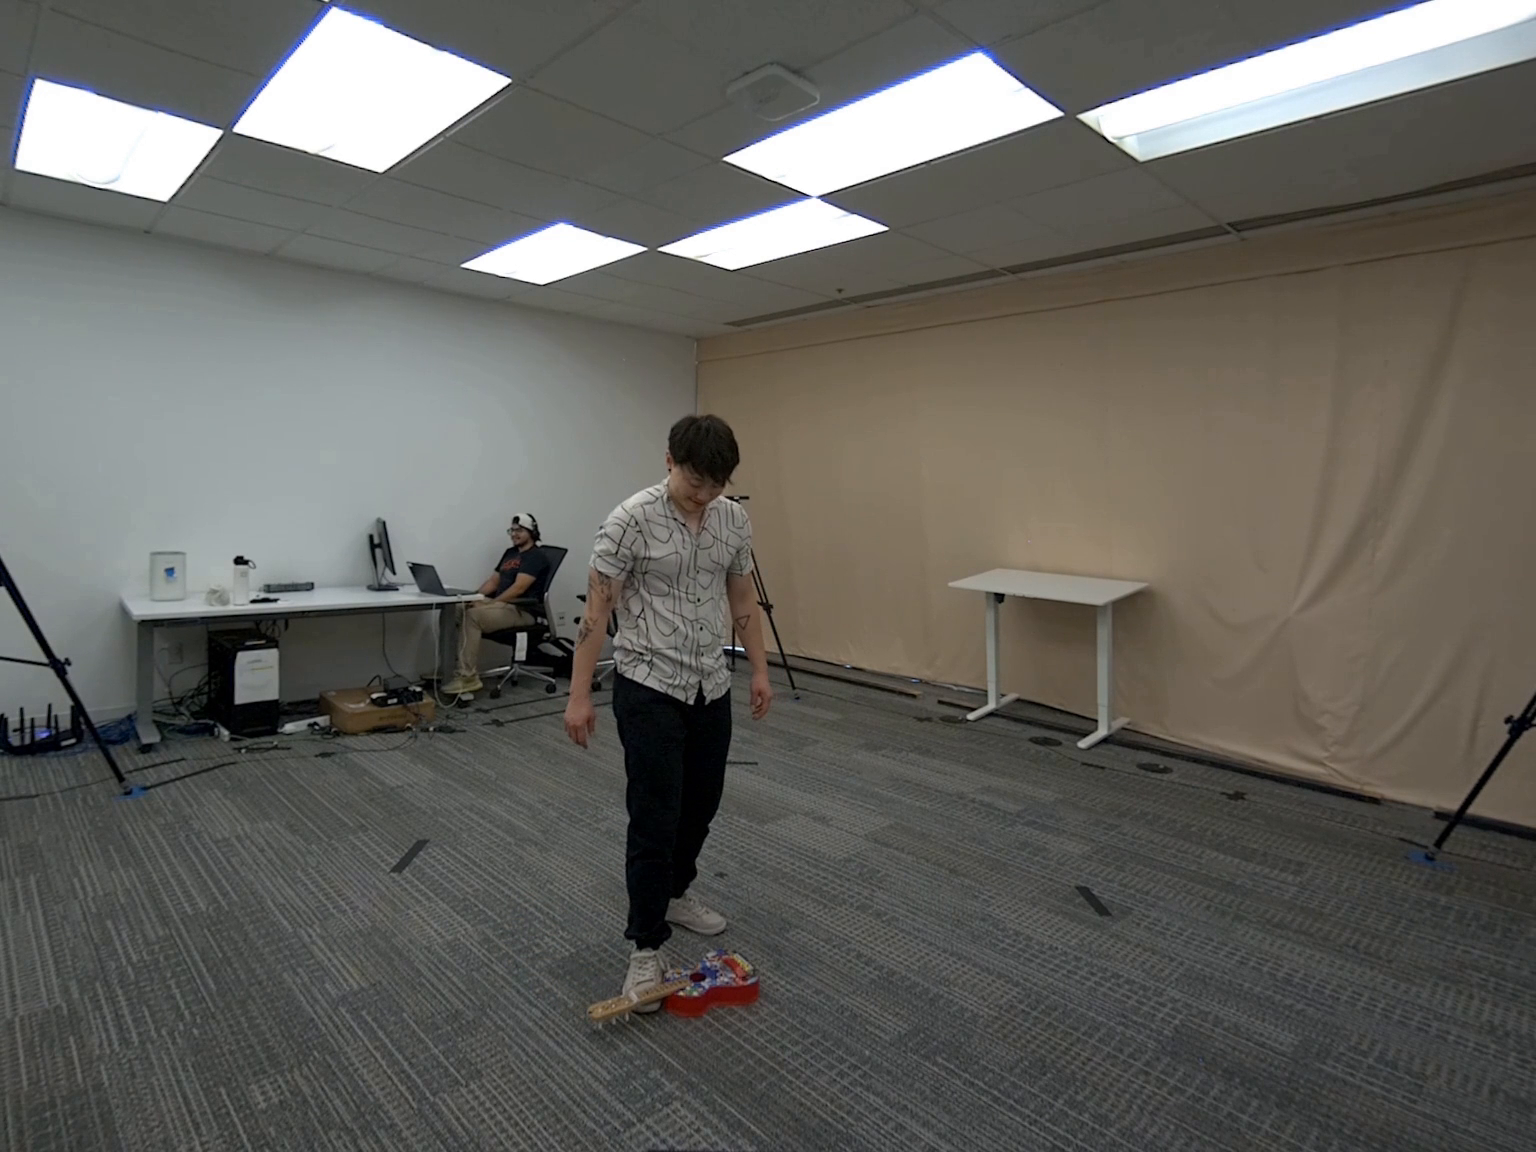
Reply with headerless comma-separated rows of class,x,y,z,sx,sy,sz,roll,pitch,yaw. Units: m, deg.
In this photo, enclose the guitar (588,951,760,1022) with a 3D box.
guitar,-0.273,1.141,2.312,0.489,0.070,0.197,0,6,-25
